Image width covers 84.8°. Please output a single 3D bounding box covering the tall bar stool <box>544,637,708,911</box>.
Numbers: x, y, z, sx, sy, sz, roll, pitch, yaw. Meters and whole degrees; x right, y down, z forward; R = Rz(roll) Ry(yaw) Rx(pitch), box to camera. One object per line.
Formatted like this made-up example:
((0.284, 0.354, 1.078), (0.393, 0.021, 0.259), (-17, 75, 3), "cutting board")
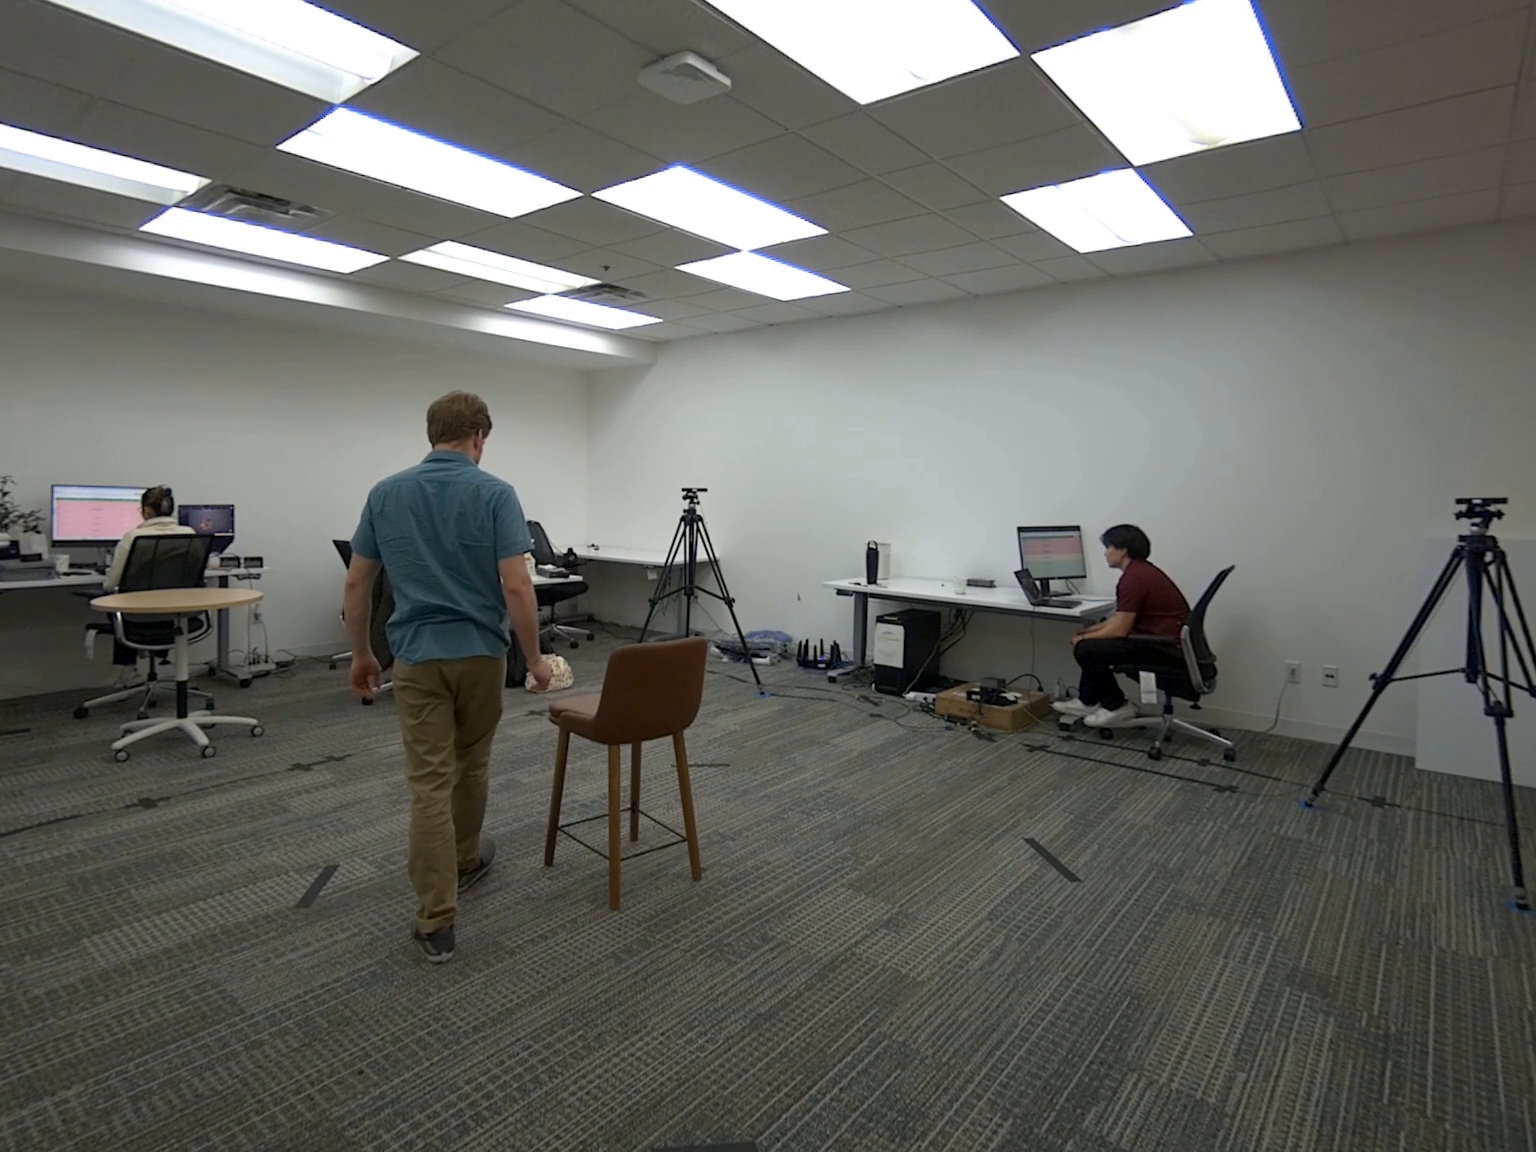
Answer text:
((-0.519, 0.636, 3.057), (0.442, 0.886, 0.484), (-1, 6, -42), "tall bar stool")
